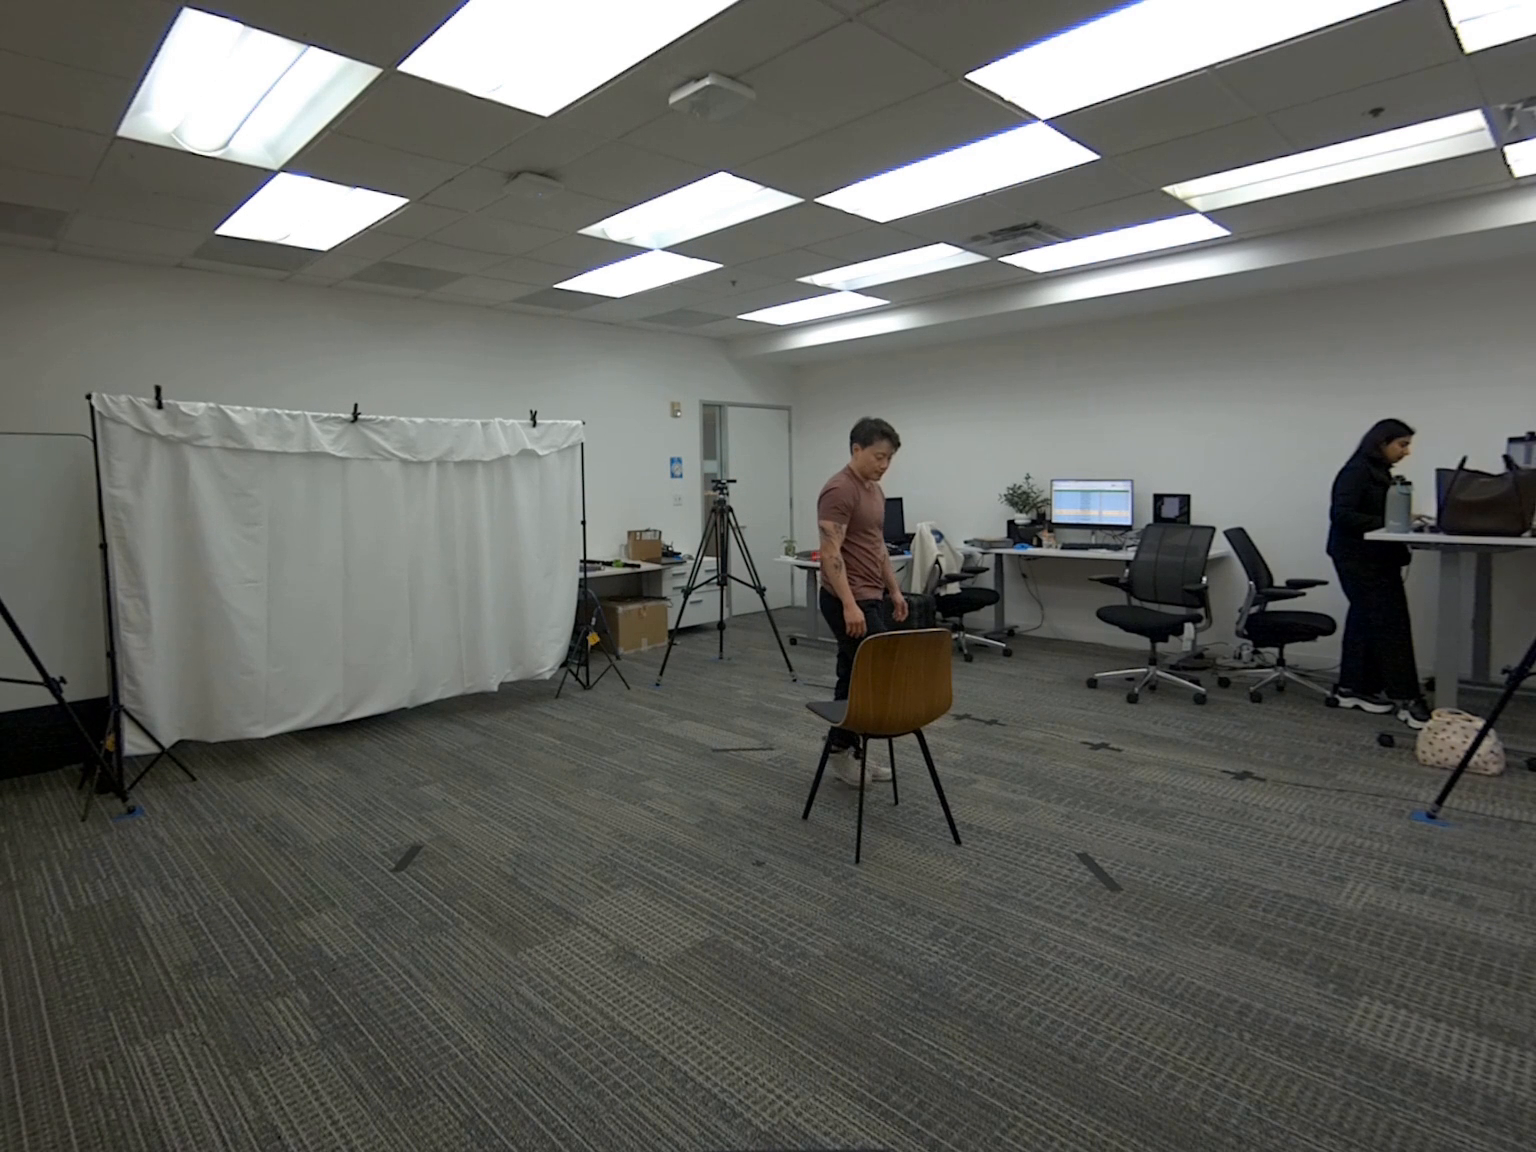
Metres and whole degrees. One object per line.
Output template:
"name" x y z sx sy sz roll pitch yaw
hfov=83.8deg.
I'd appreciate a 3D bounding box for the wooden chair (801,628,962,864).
"wooden chair" 0.419 0.583 3.357 0.469 0.871 0.537 -3 9 -22
